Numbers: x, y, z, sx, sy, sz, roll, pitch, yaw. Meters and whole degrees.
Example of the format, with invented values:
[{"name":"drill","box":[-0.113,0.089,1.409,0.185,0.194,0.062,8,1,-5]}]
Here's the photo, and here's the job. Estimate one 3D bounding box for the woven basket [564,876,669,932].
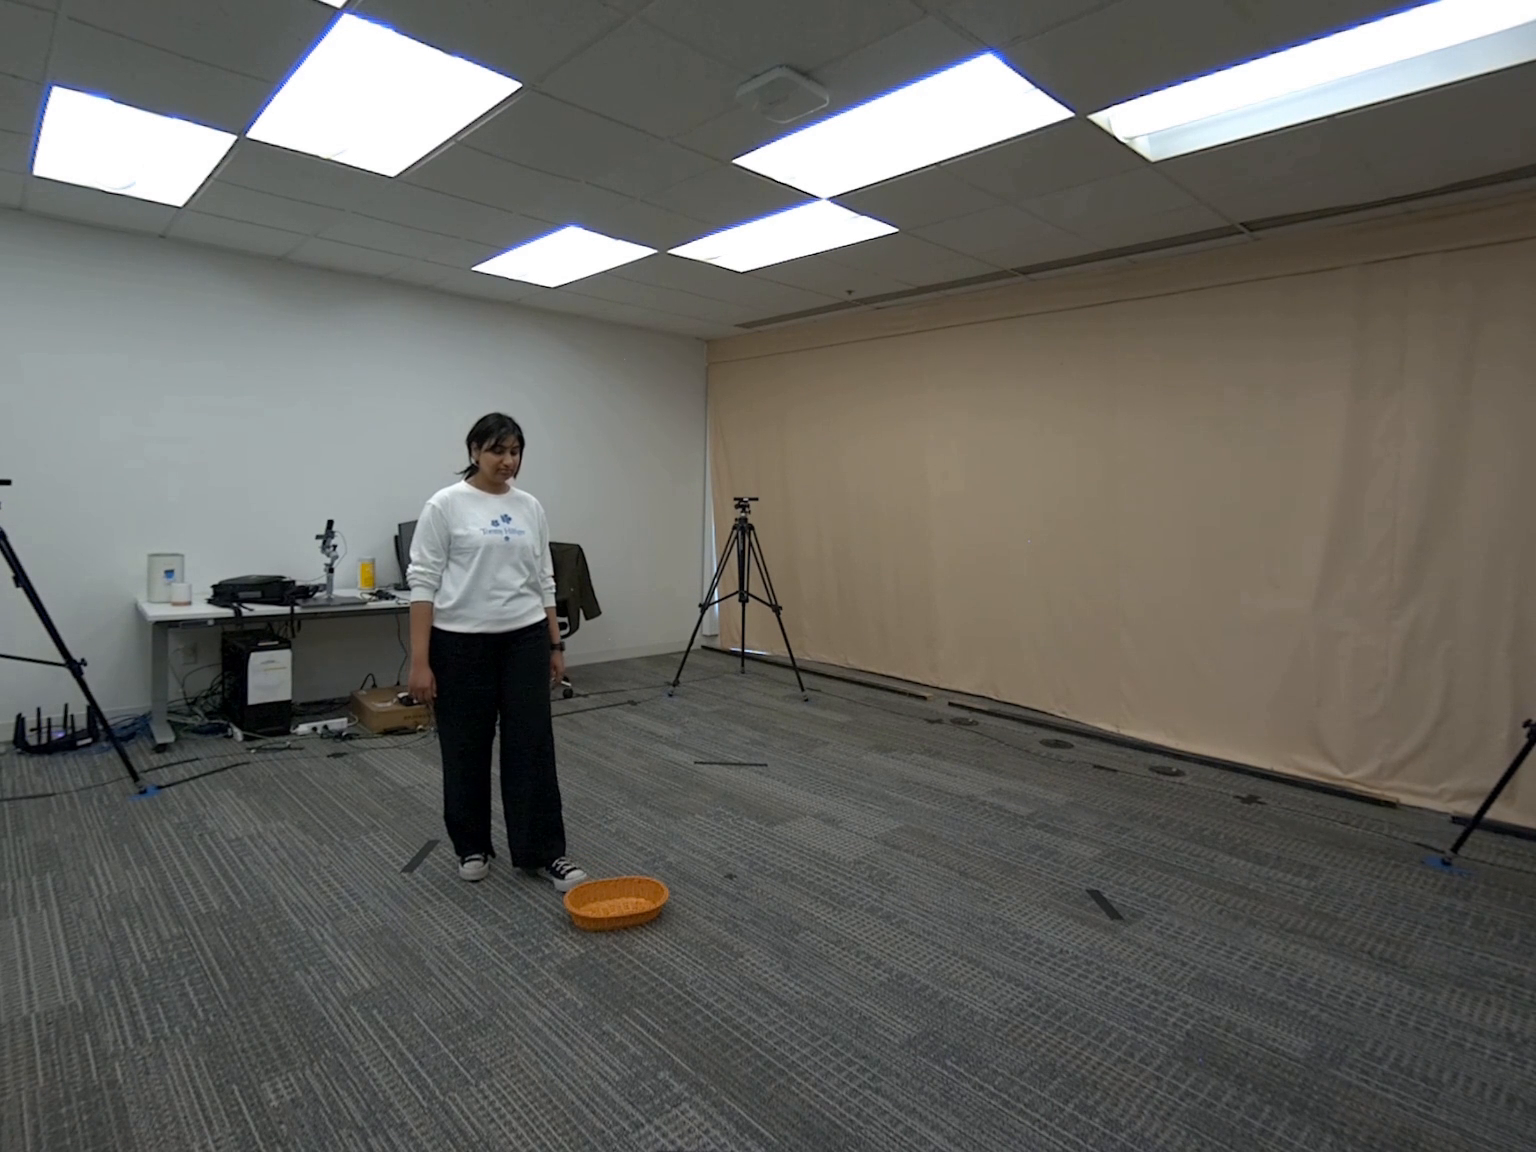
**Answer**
[{"name":"woven basket","box":[-0.508,1.091,2.789,0.347,0.073,0.256,0,7,-13]}]
